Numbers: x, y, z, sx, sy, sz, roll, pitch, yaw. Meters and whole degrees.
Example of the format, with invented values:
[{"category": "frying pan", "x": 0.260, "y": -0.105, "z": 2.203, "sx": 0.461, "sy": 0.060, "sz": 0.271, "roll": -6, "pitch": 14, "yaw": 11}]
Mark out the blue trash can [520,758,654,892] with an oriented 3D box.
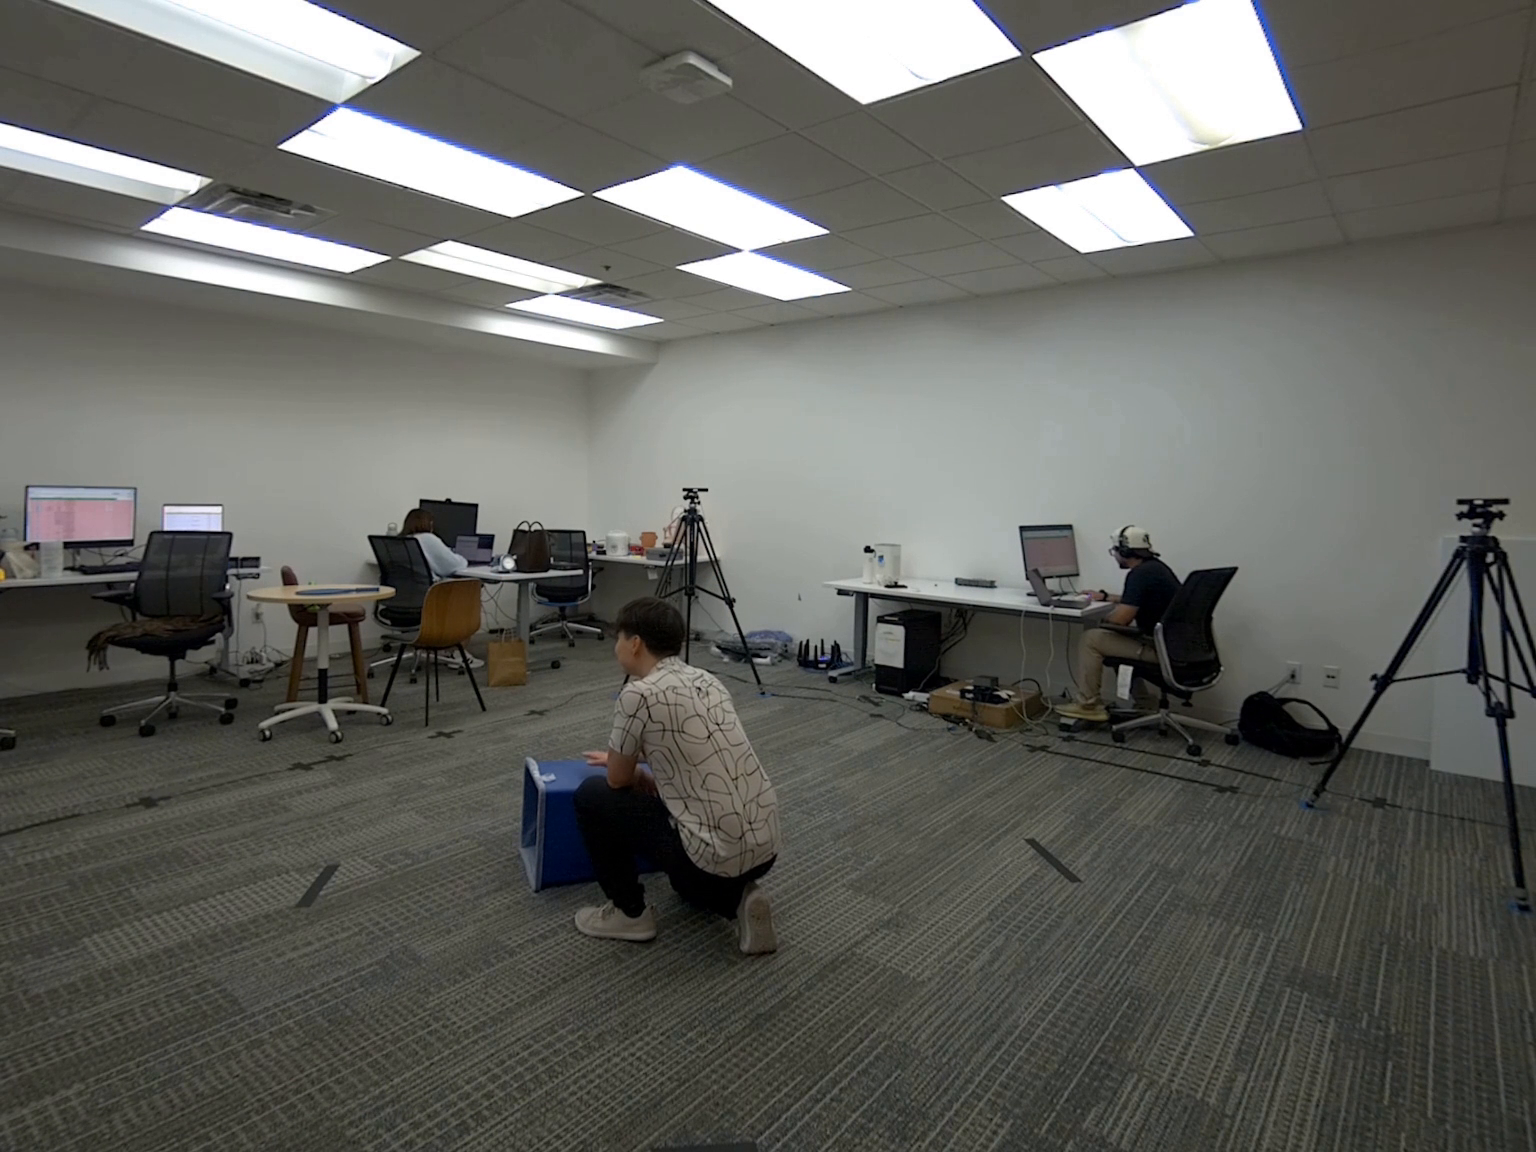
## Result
[{"category": "blue trash can", "x": -0.546, "y": 0.885, "z": 3.176, "sx": 0.698, "sy": 0.373, "sz": 0.388, "roll": 3, "pitch": 4, "yaw": -22}]
